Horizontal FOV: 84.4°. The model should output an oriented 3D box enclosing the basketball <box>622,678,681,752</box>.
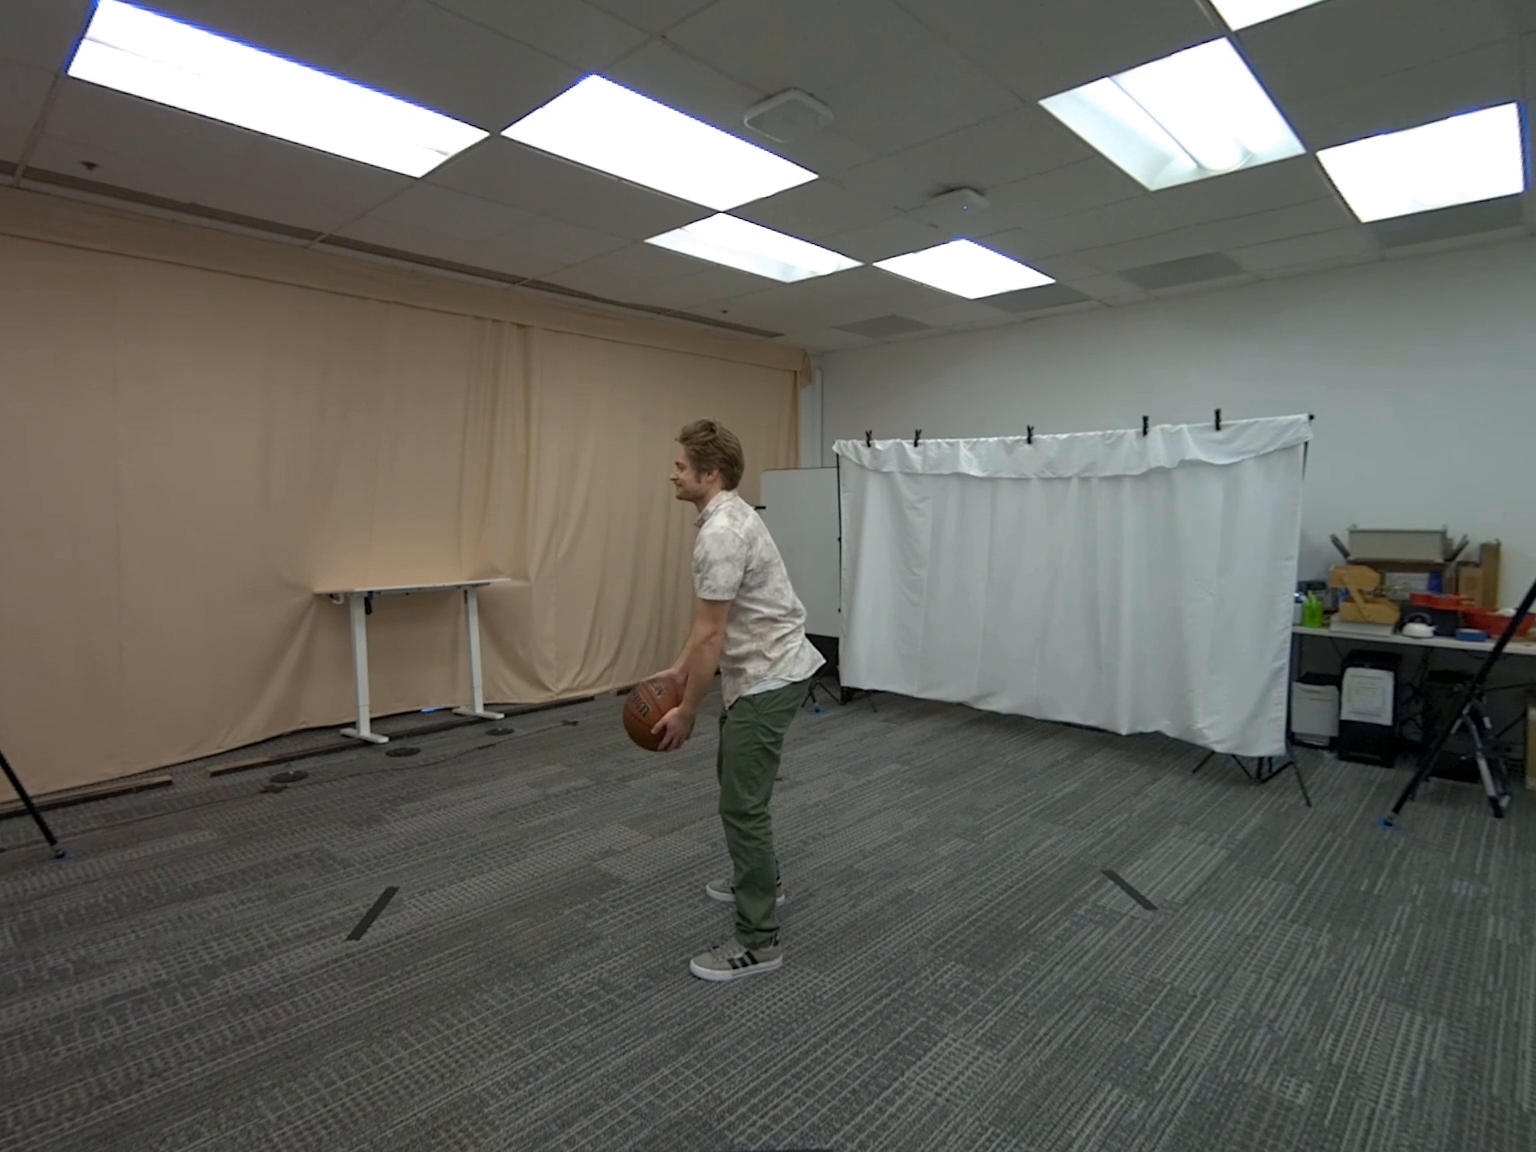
[{"bbox_3d":[-0.352,0.450,2.768,0.236,0.235,0.237,0,4,-2],"label":"basketball"}]
